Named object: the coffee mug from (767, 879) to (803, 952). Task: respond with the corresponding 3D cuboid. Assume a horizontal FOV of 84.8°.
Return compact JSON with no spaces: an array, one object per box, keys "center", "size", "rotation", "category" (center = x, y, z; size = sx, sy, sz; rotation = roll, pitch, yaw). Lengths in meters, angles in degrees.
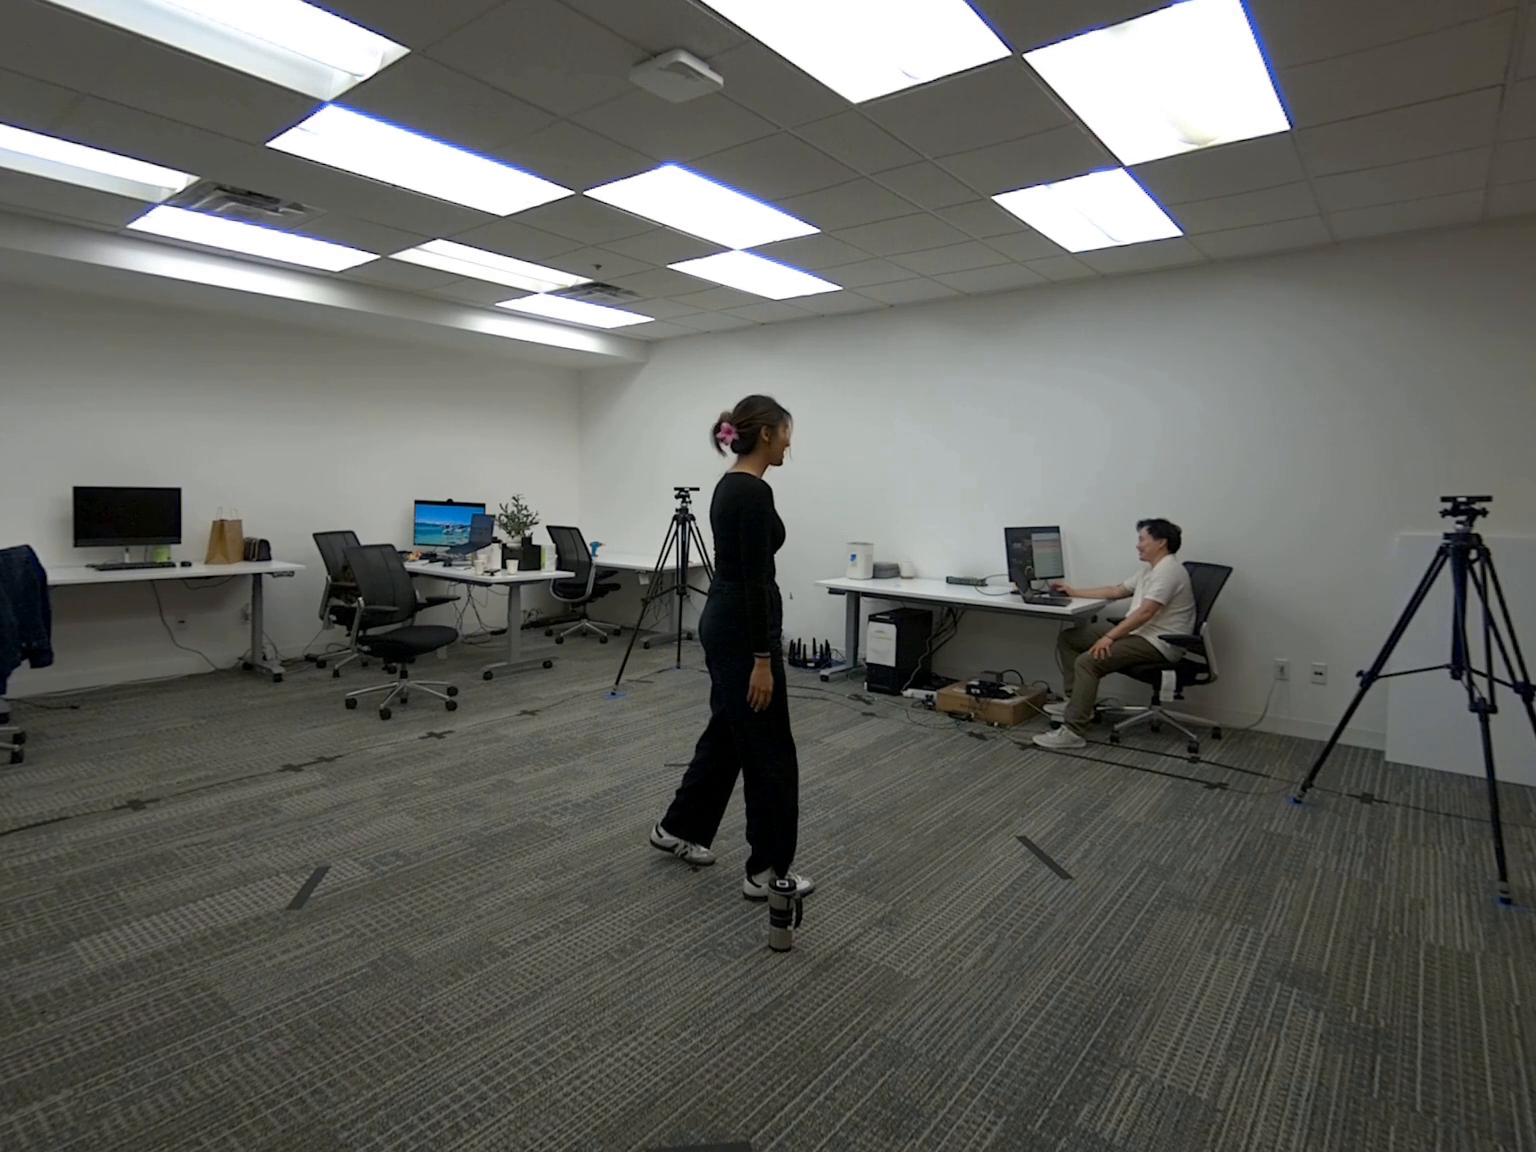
[{"center":[0.035,1.033,2.555],"size":[0.086,0.203,0.124],"rotation":[3,-1,-16],"category":"coffee mug"}]
